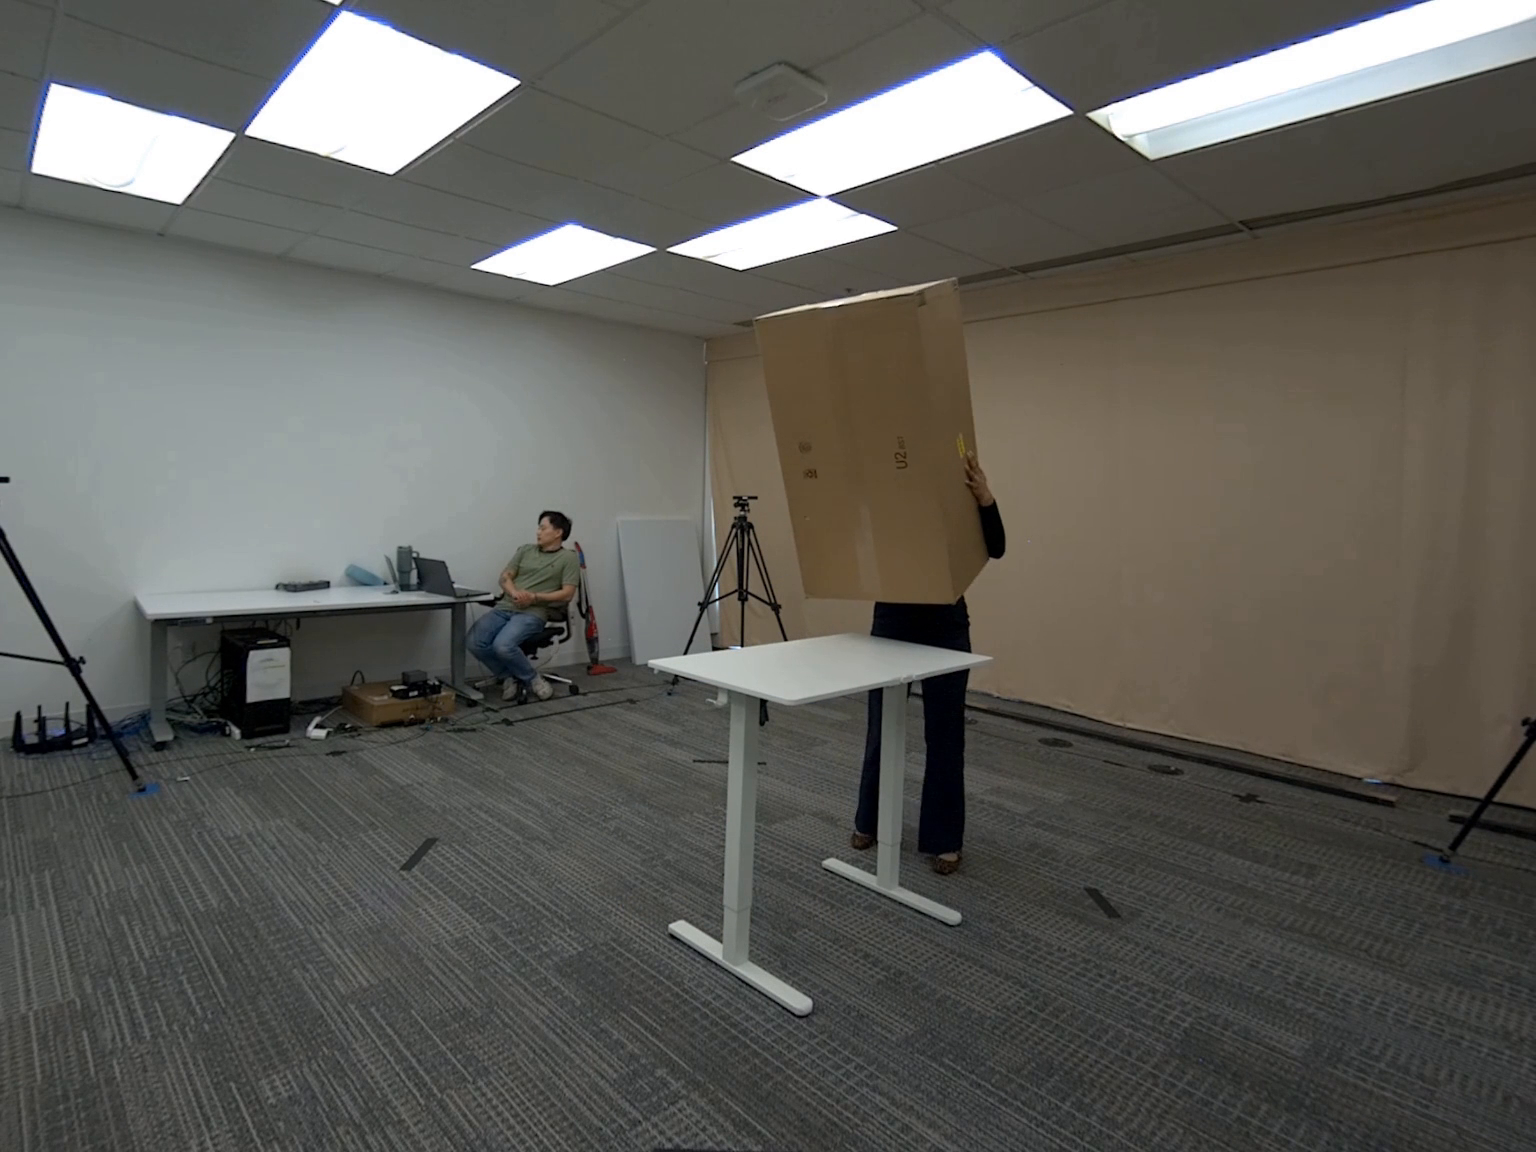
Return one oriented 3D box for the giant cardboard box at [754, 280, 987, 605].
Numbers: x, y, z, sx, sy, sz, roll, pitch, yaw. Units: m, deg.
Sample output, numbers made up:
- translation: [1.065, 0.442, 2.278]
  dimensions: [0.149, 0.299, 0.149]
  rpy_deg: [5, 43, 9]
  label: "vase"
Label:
- translation: [0.380, -0.454, 2.977]
  dimensions: [0.590, 1.011, 0.423]
  rpy_deg: [1, 20, 33]
  label: "giant cardboard box"
